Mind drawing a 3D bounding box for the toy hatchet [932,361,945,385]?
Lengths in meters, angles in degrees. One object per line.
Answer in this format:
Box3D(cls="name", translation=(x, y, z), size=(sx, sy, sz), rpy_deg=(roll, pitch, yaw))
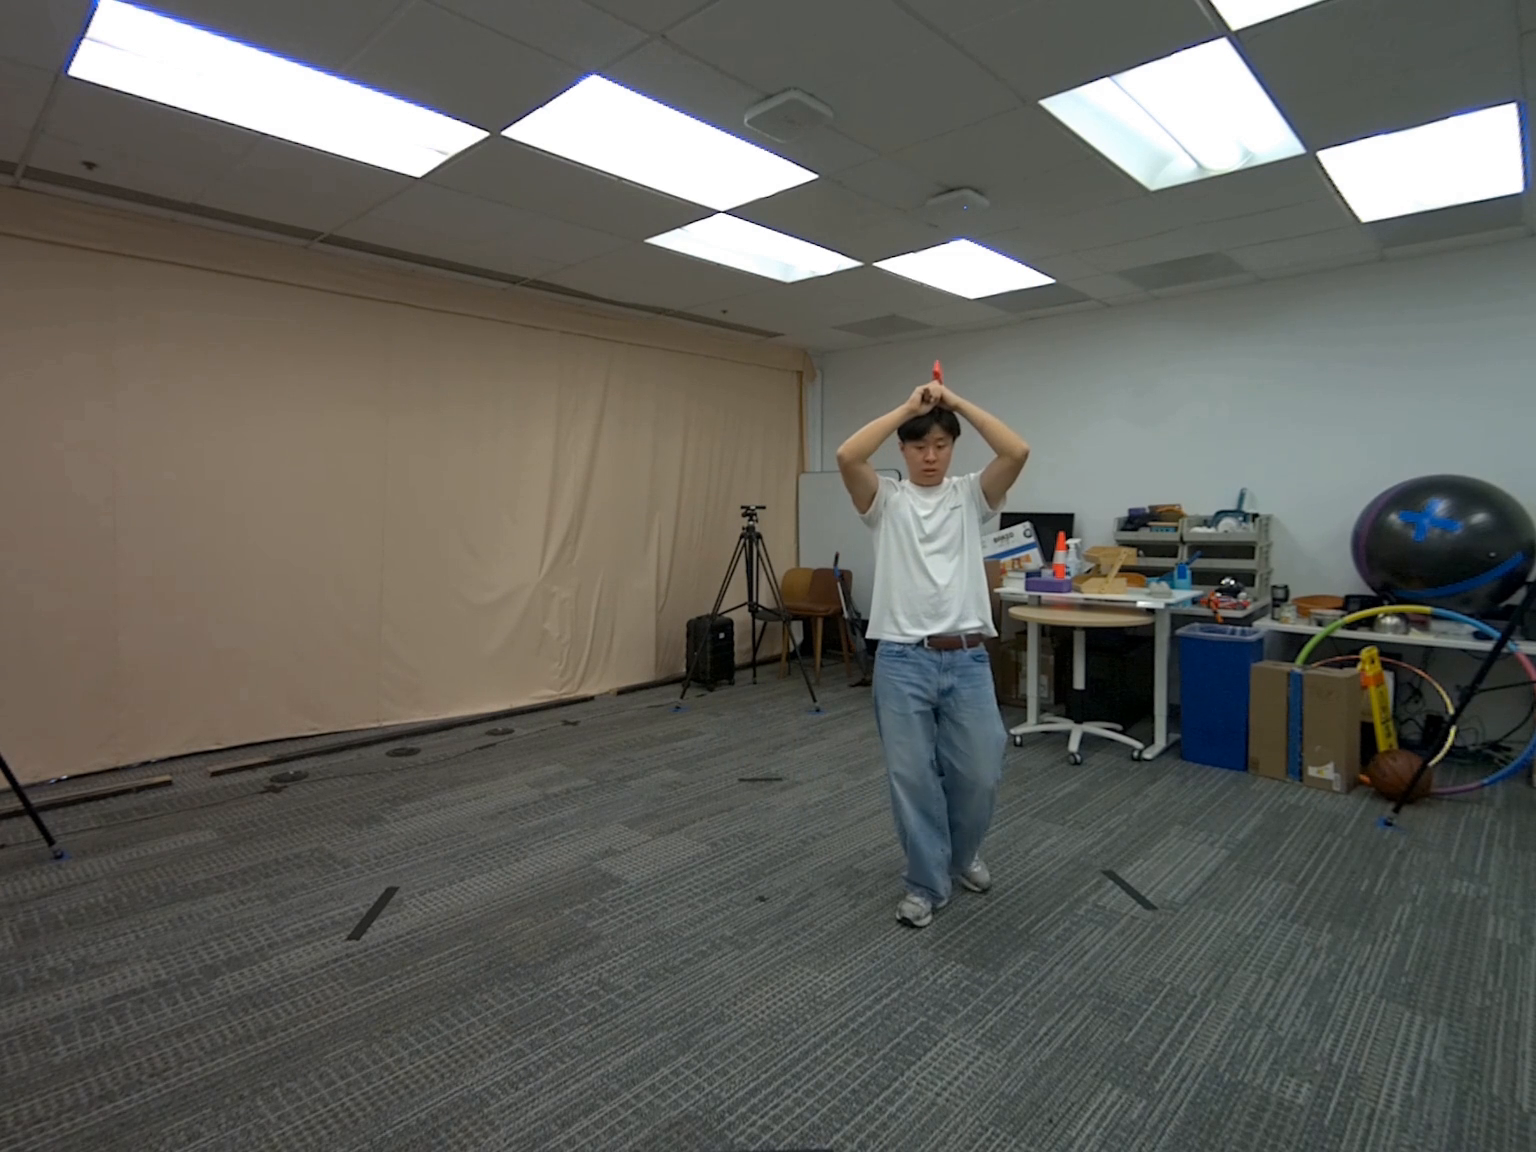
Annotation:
Box3D(cls="toy hatchet", translation=(0.572, -0.655, 2.800), size=(0.030, 0.130, 0.267), rpy_deg=(2, 13, 15))
